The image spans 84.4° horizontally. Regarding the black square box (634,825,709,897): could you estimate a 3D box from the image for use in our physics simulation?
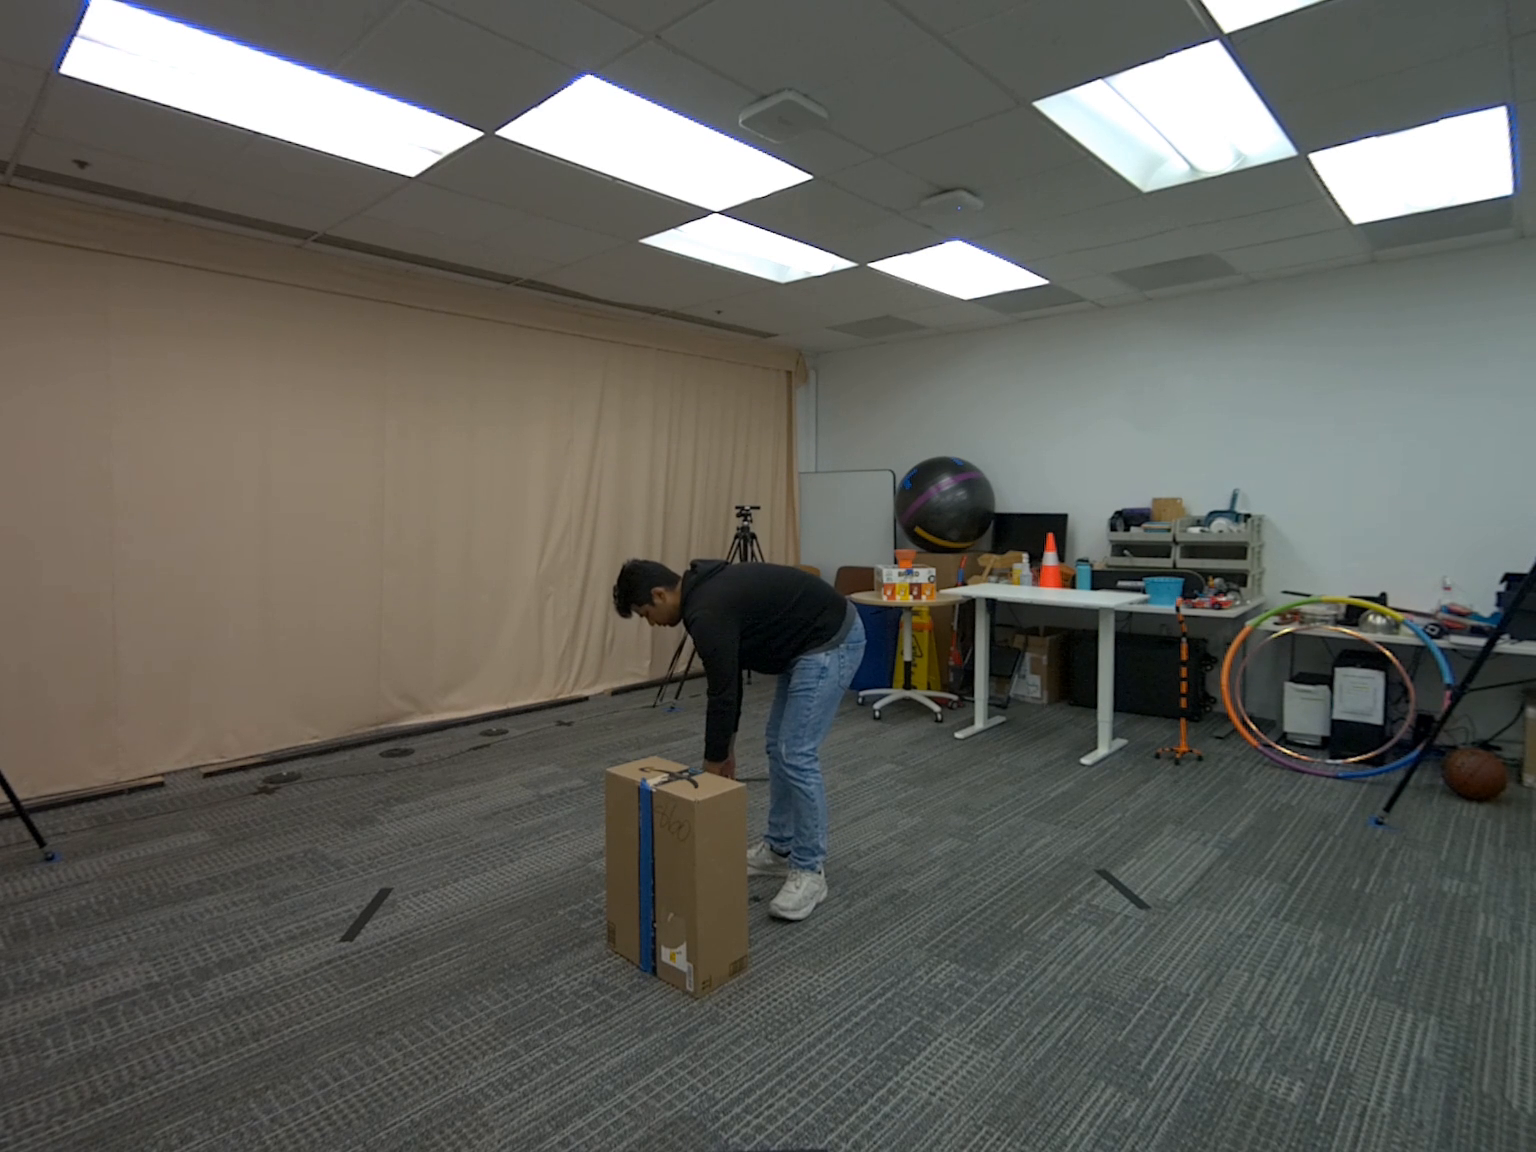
[{"bbox_3d":[-0.359,1.055,3.163,0.220,0.156,0.224,1,3,14],"label":"black square box"}]
